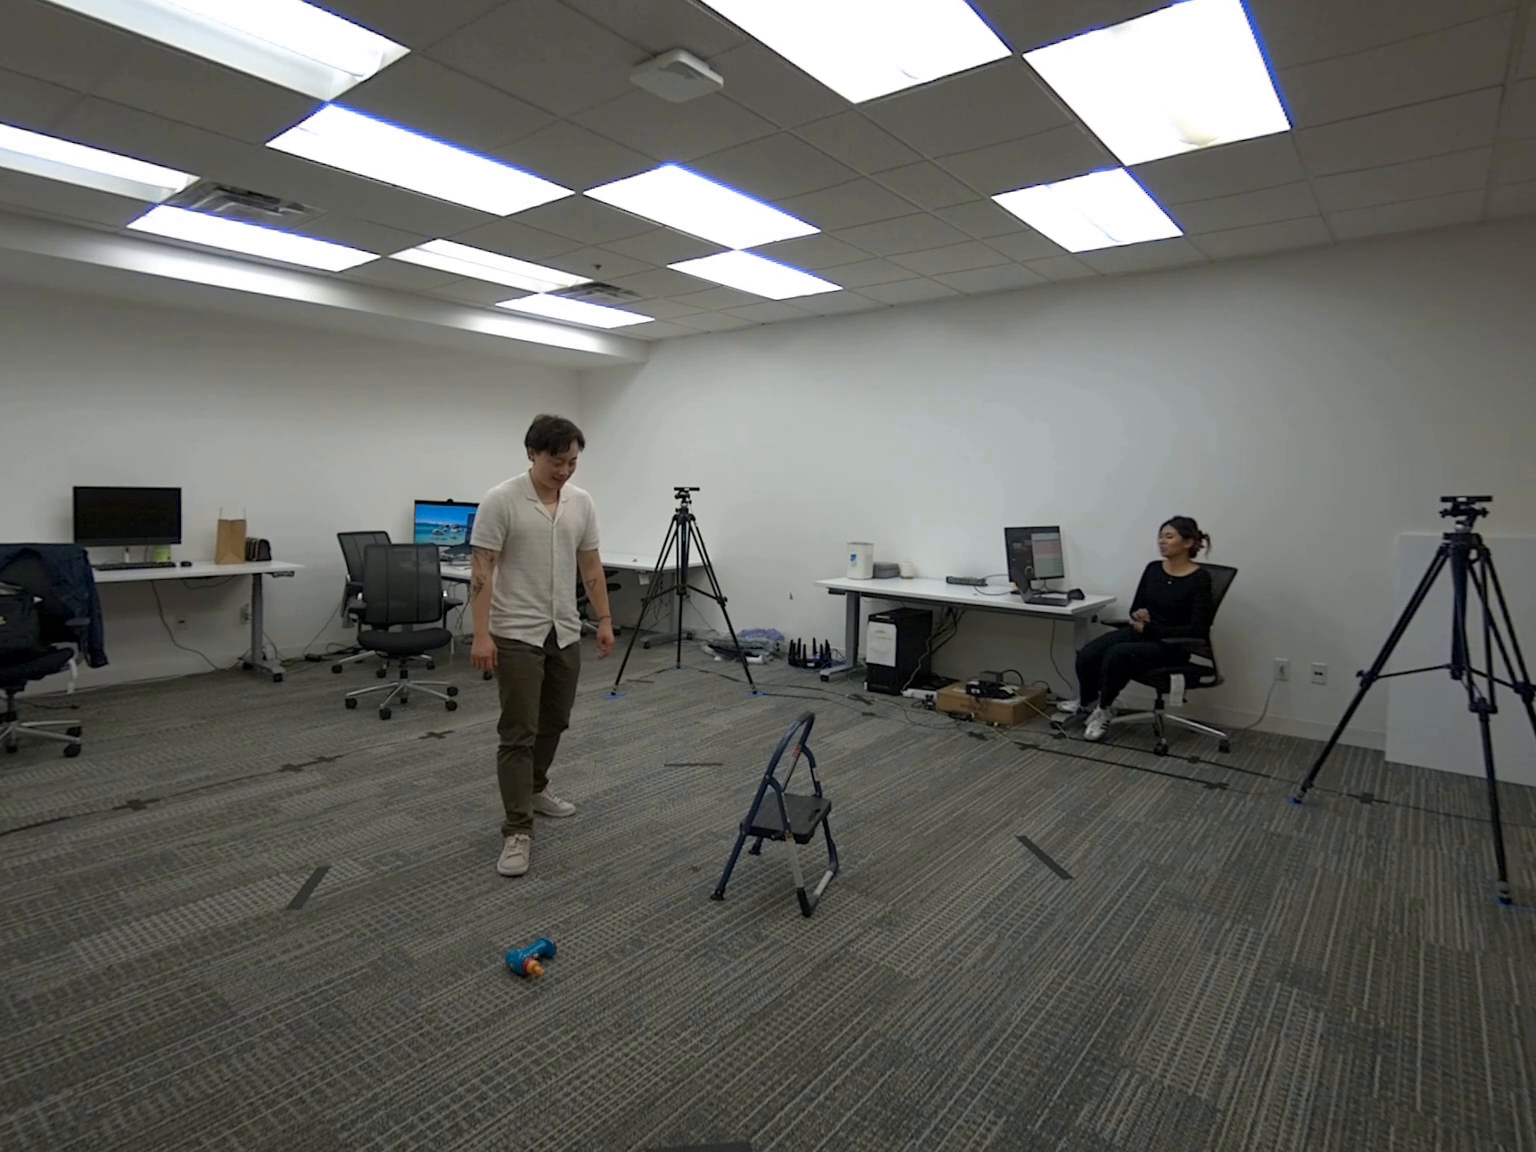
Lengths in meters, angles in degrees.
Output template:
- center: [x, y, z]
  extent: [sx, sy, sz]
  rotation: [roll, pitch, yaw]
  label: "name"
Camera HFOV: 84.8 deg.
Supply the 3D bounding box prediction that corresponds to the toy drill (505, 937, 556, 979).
- center: [-0.680, 1.099, 2.437]
  extent: [0.175, 0.061, 0.141]
  rotation: [-2, 1, 42]
  label: "toy drill"
